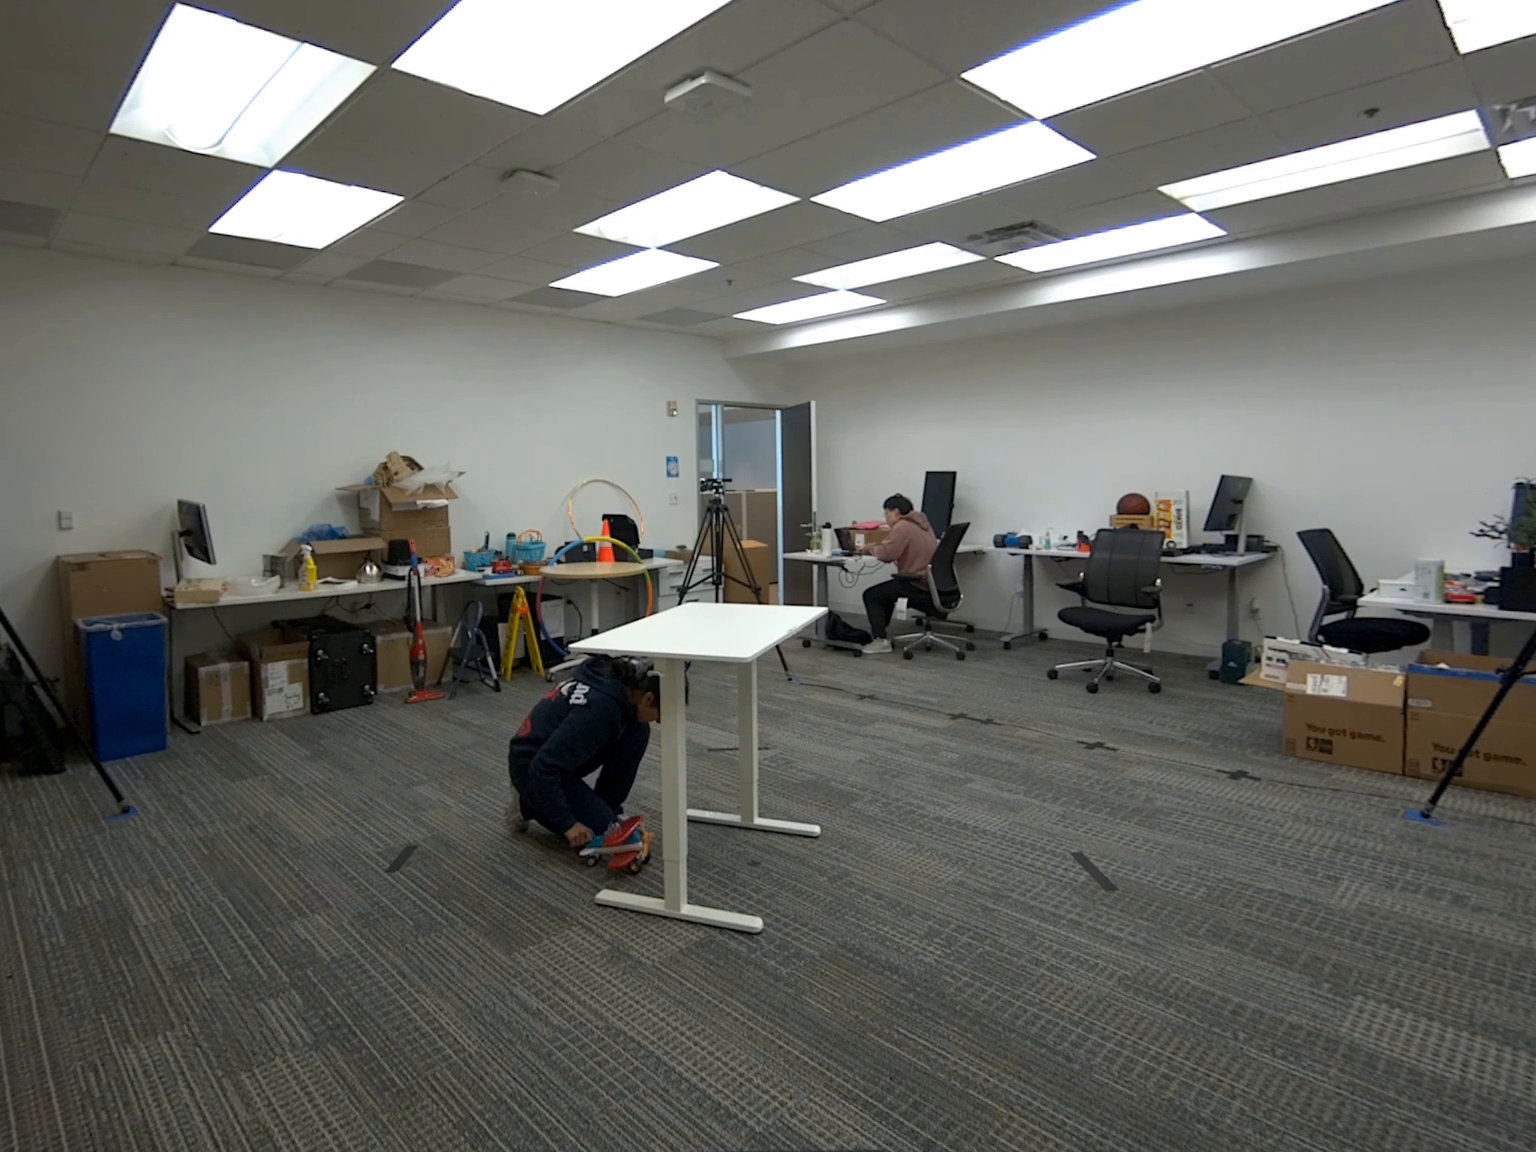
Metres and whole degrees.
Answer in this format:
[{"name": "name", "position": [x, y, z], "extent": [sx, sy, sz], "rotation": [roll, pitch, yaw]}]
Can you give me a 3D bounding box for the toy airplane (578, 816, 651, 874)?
[{"name": "toy airplane", "position": [-0.536, 0.977, 3.053], "extent": [0.256, 0.156, 0.255], "rotation": [-3, 5, -14]}]
